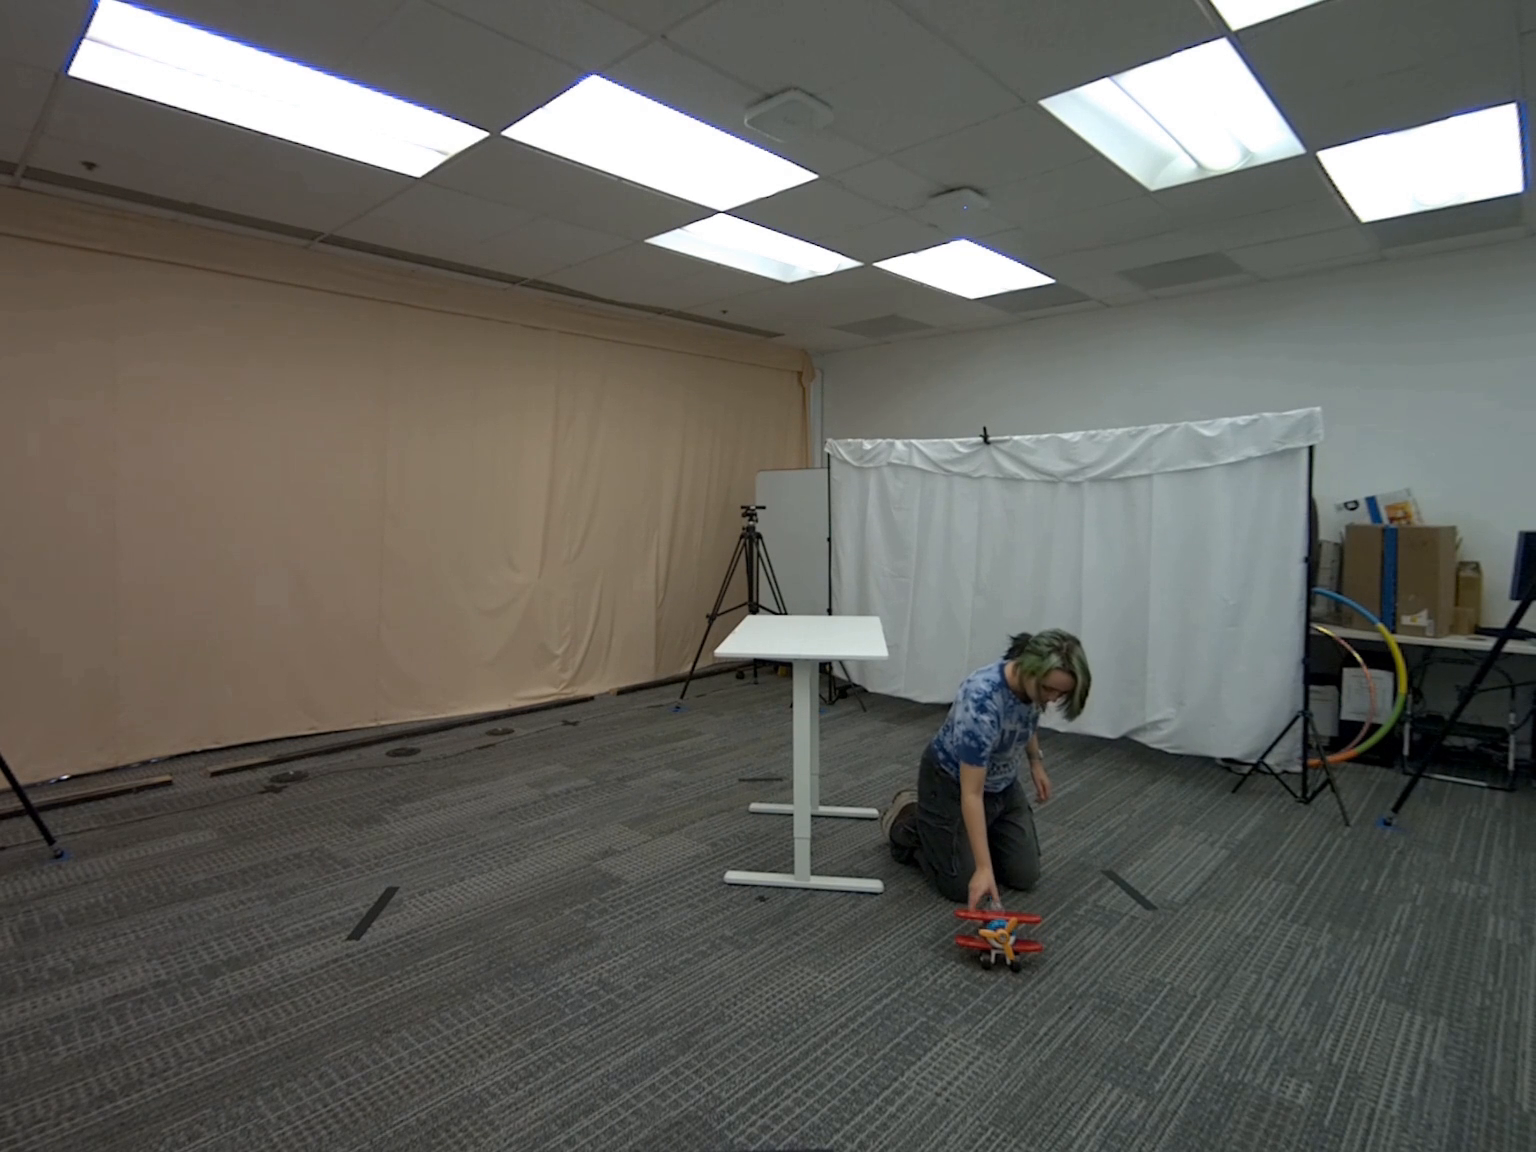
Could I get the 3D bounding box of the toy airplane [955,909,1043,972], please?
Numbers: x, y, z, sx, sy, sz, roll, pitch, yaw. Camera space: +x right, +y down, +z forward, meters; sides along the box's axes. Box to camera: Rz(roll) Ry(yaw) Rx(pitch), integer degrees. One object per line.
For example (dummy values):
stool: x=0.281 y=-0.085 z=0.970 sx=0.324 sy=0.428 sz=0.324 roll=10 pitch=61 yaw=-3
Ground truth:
toy airplane: x=0.683 y=1.093 z=2.612 sx=0.246 sy=0.156 sz=0.265 roll=-3 pitch=5 yaw=-21
